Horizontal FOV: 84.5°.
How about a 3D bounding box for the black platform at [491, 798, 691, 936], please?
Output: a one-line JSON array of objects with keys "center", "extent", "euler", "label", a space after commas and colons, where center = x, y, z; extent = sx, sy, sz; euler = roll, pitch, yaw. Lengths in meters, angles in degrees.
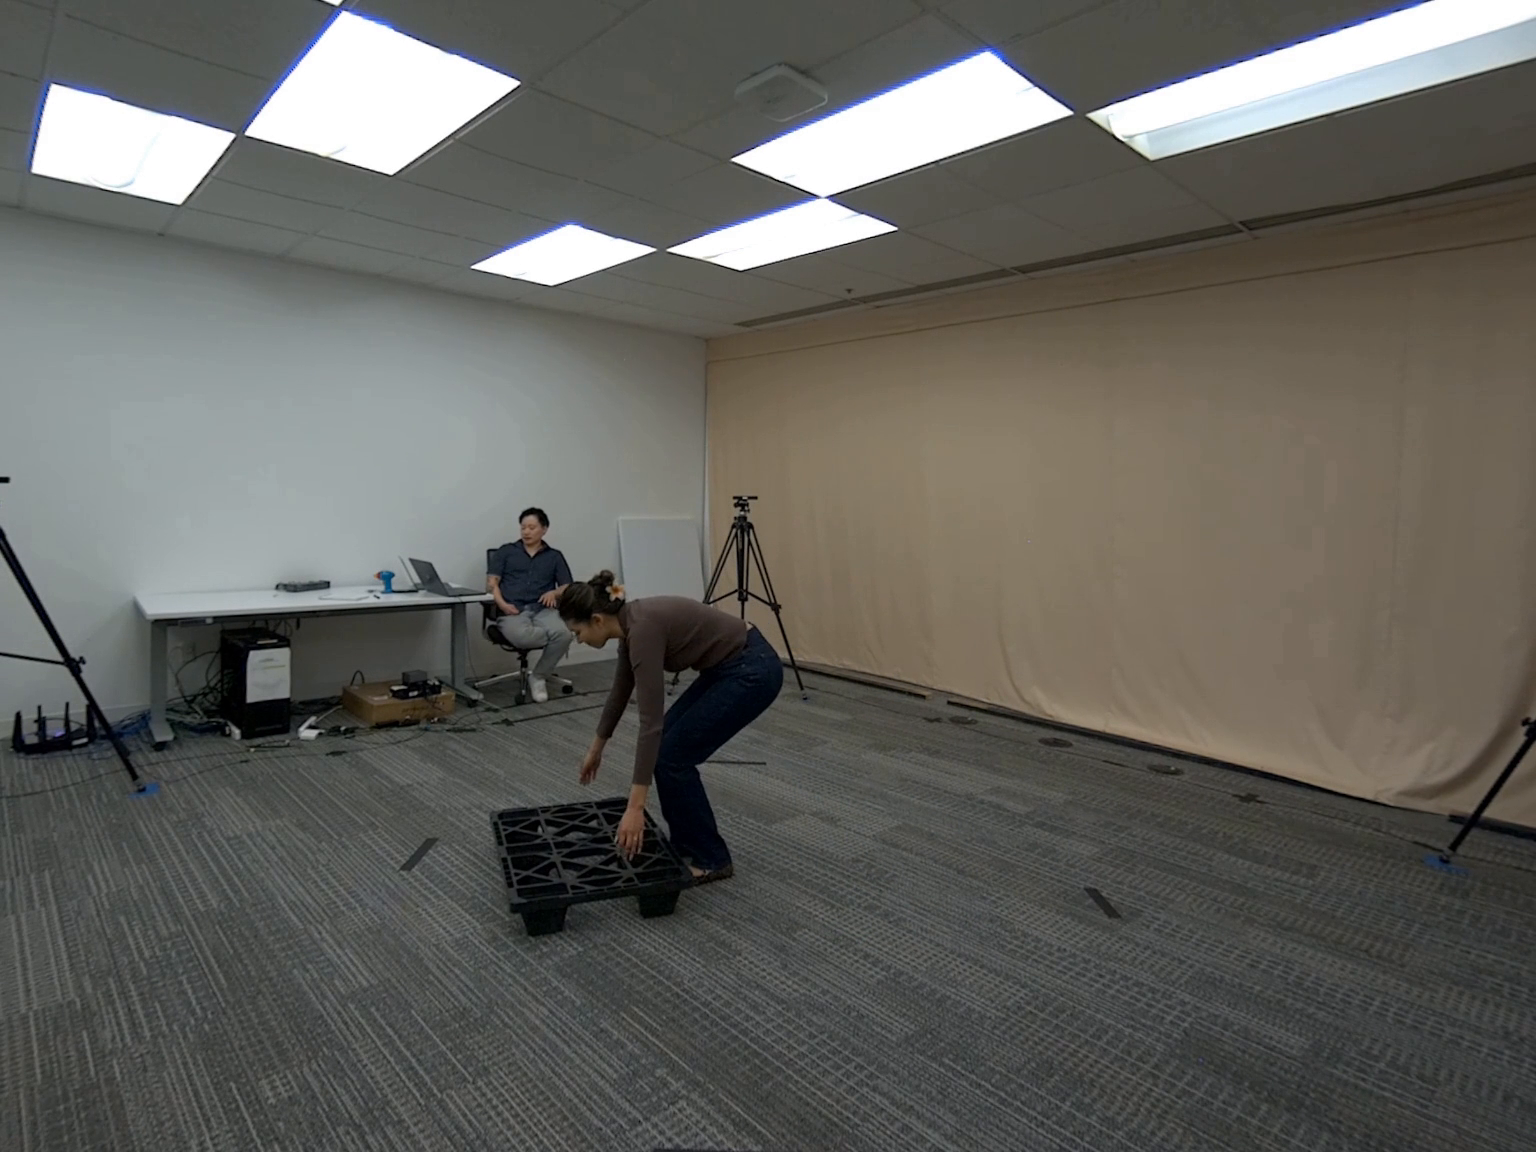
[{"center": [-0.679, 1.031, 3.057], "extent": [0.595, 0.143, 0.821], "euler": [0, 6, -22], "label": "black platform"}]
